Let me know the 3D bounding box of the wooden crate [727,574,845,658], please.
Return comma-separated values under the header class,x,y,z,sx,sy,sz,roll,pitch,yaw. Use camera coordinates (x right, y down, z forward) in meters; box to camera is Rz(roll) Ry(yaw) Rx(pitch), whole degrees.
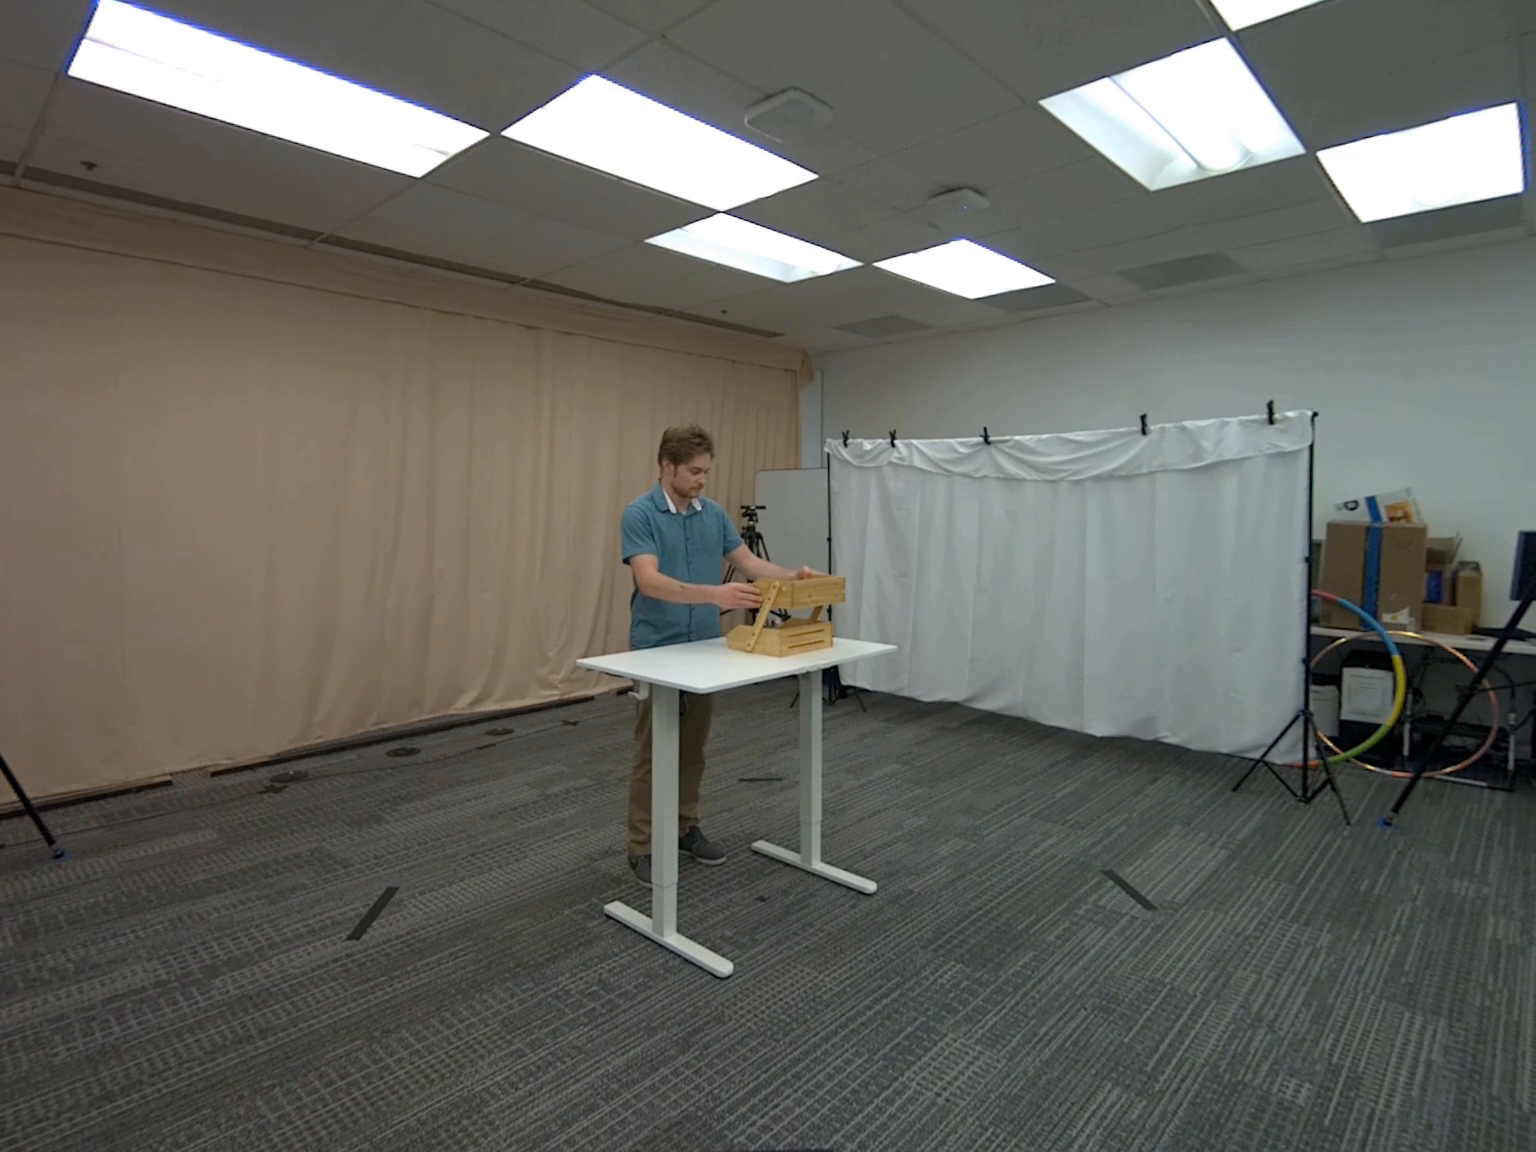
class,x,y,z,sx,sy,sz,roll,pitch,yaw
wooden crate,0.064,0.129,2.996,0.312,0.272,0.314,5,6,42
